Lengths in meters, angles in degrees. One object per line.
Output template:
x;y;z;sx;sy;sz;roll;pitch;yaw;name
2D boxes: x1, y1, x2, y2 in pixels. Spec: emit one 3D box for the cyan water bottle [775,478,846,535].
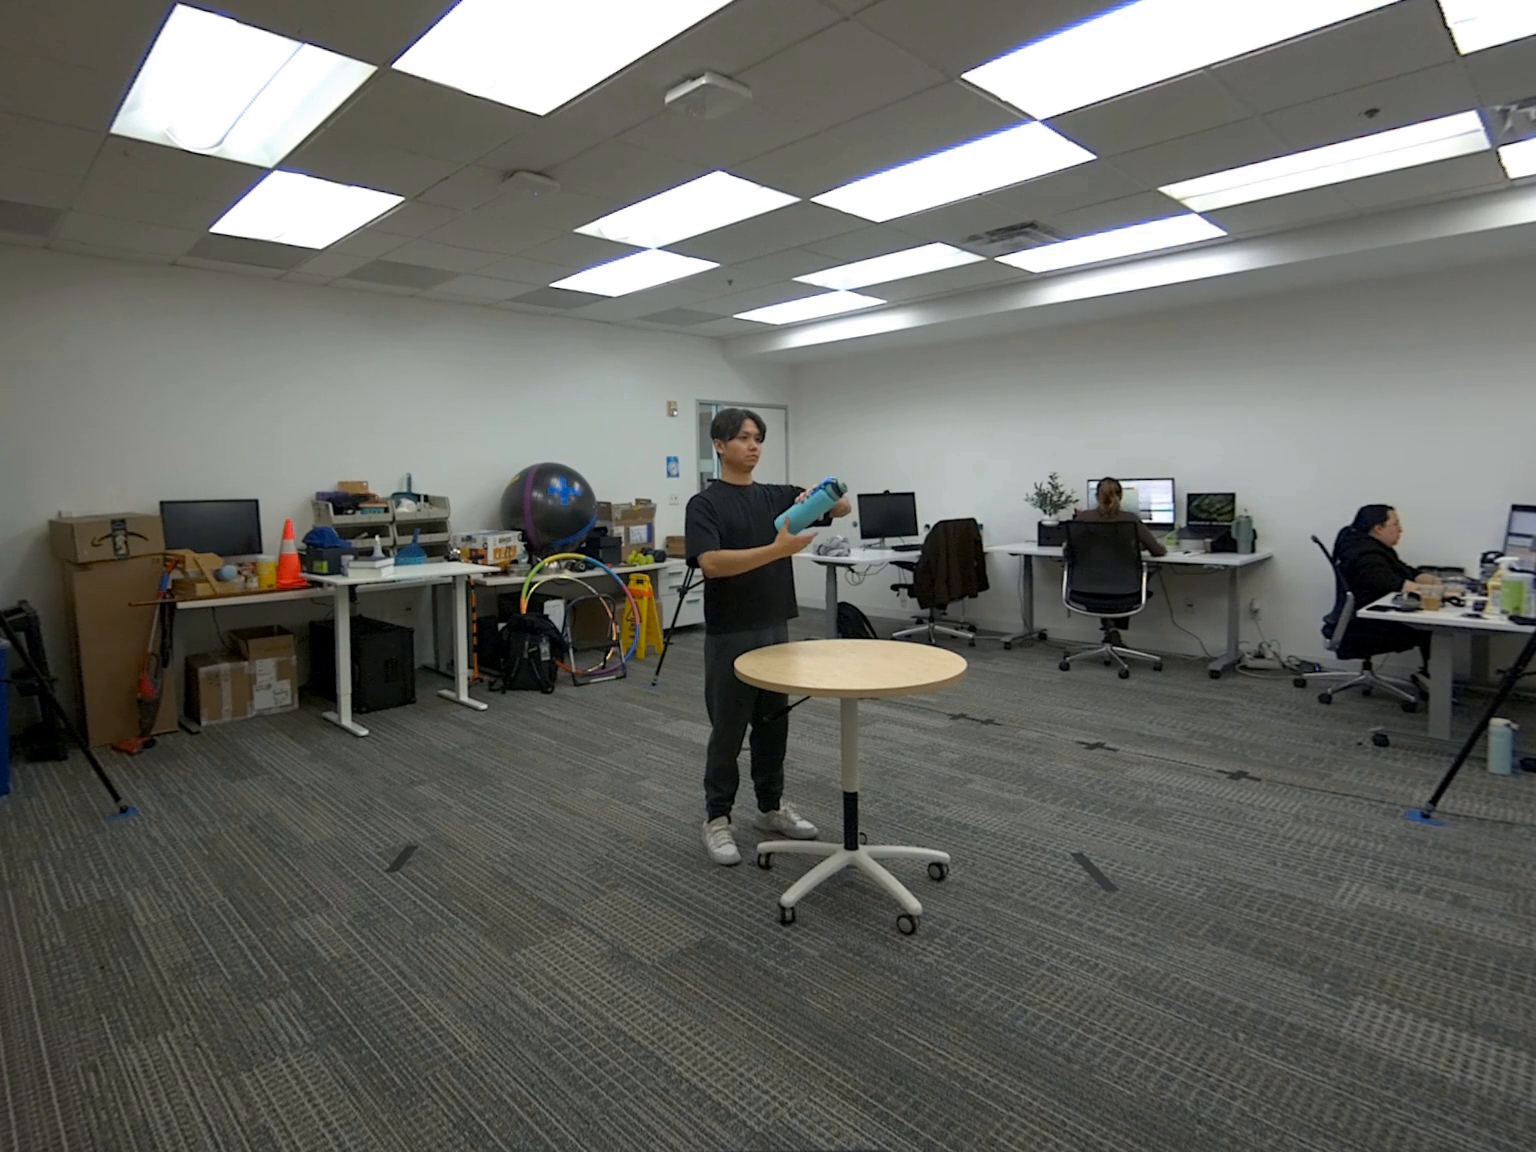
0.163;-0.242;3.017;0.284;0.094;0.090;-39;-14;25;cyan water bottle
